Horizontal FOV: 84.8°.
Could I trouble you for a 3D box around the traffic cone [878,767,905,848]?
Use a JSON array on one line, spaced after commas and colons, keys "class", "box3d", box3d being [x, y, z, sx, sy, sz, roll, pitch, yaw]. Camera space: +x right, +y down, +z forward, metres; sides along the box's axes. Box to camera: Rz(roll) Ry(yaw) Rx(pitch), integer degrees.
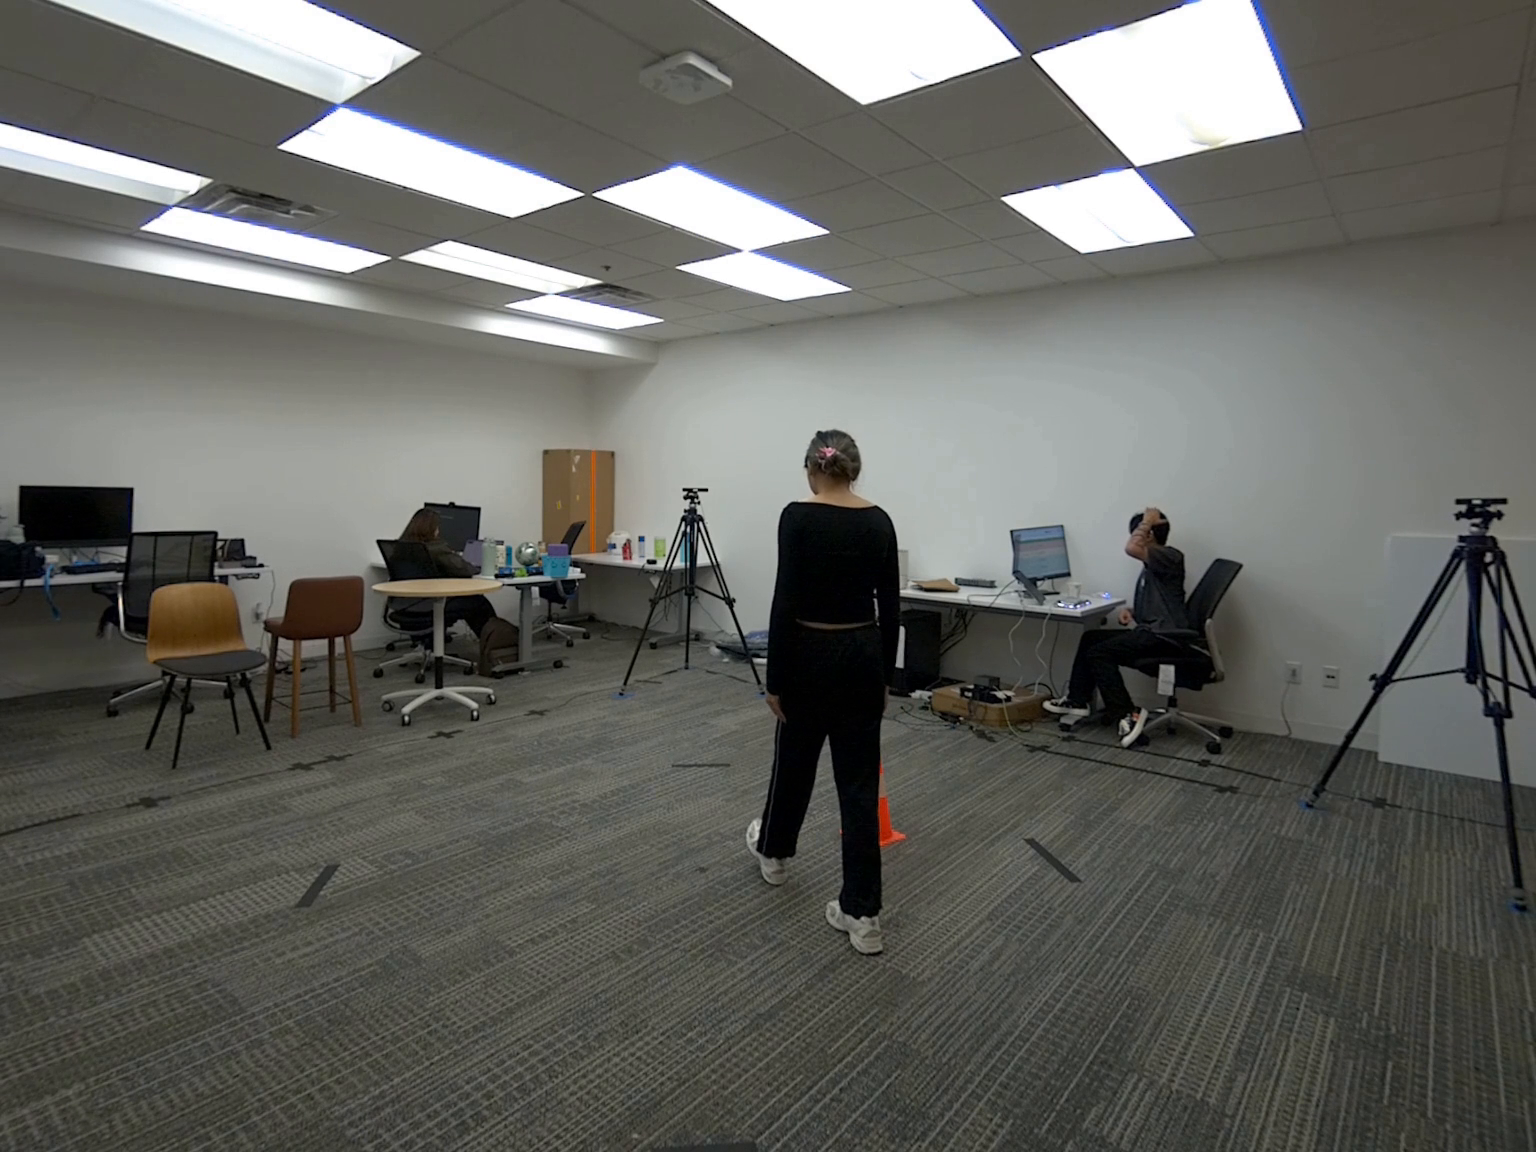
[{"class": "traffic cone", "box3d": [0.431, 0.864, 3.462, 0.199, 0.383, 0.210, 1, 3, -36]}]
